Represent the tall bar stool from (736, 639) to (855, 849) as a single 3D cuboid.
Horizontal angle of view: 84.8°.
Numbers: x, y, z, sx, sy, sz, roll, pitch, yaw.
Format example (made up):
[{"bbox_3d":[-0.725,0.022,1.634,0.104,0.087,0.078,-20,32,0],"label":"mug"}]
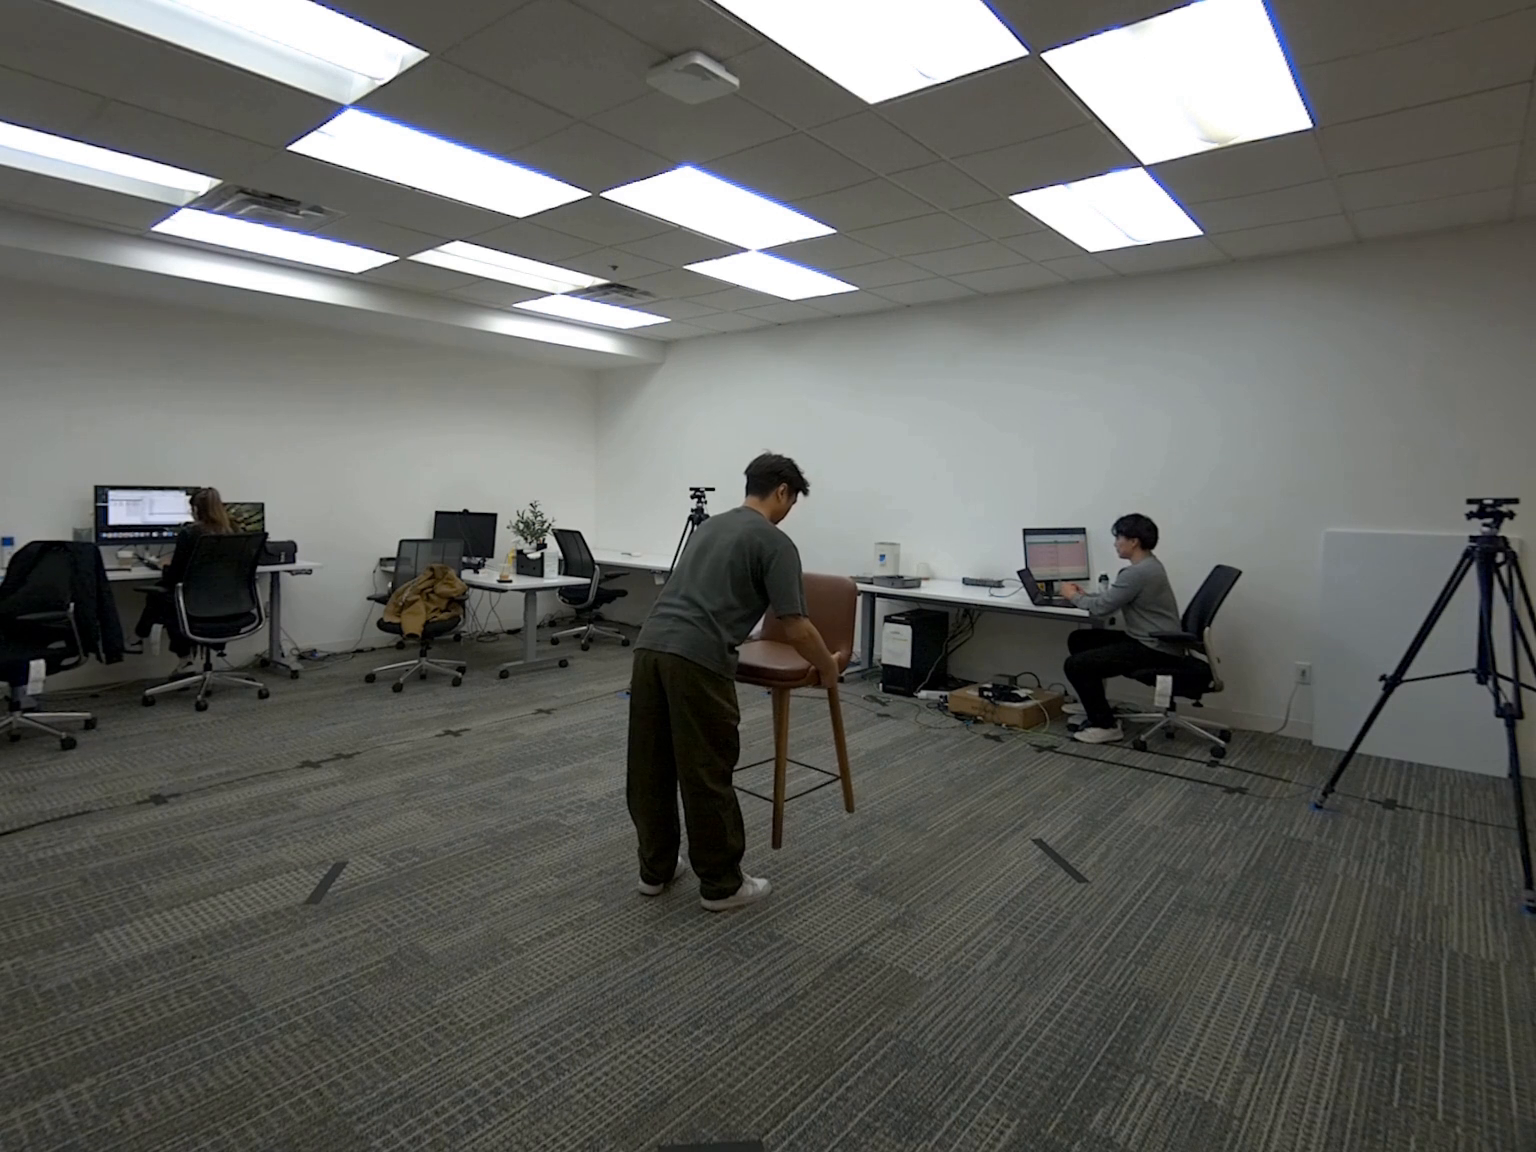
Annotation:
[{"bbox_3d":[0.033,0.452,3.122,0.453,0.887,0.472,-2,5,-45],"label":"tall bar stool"}]
